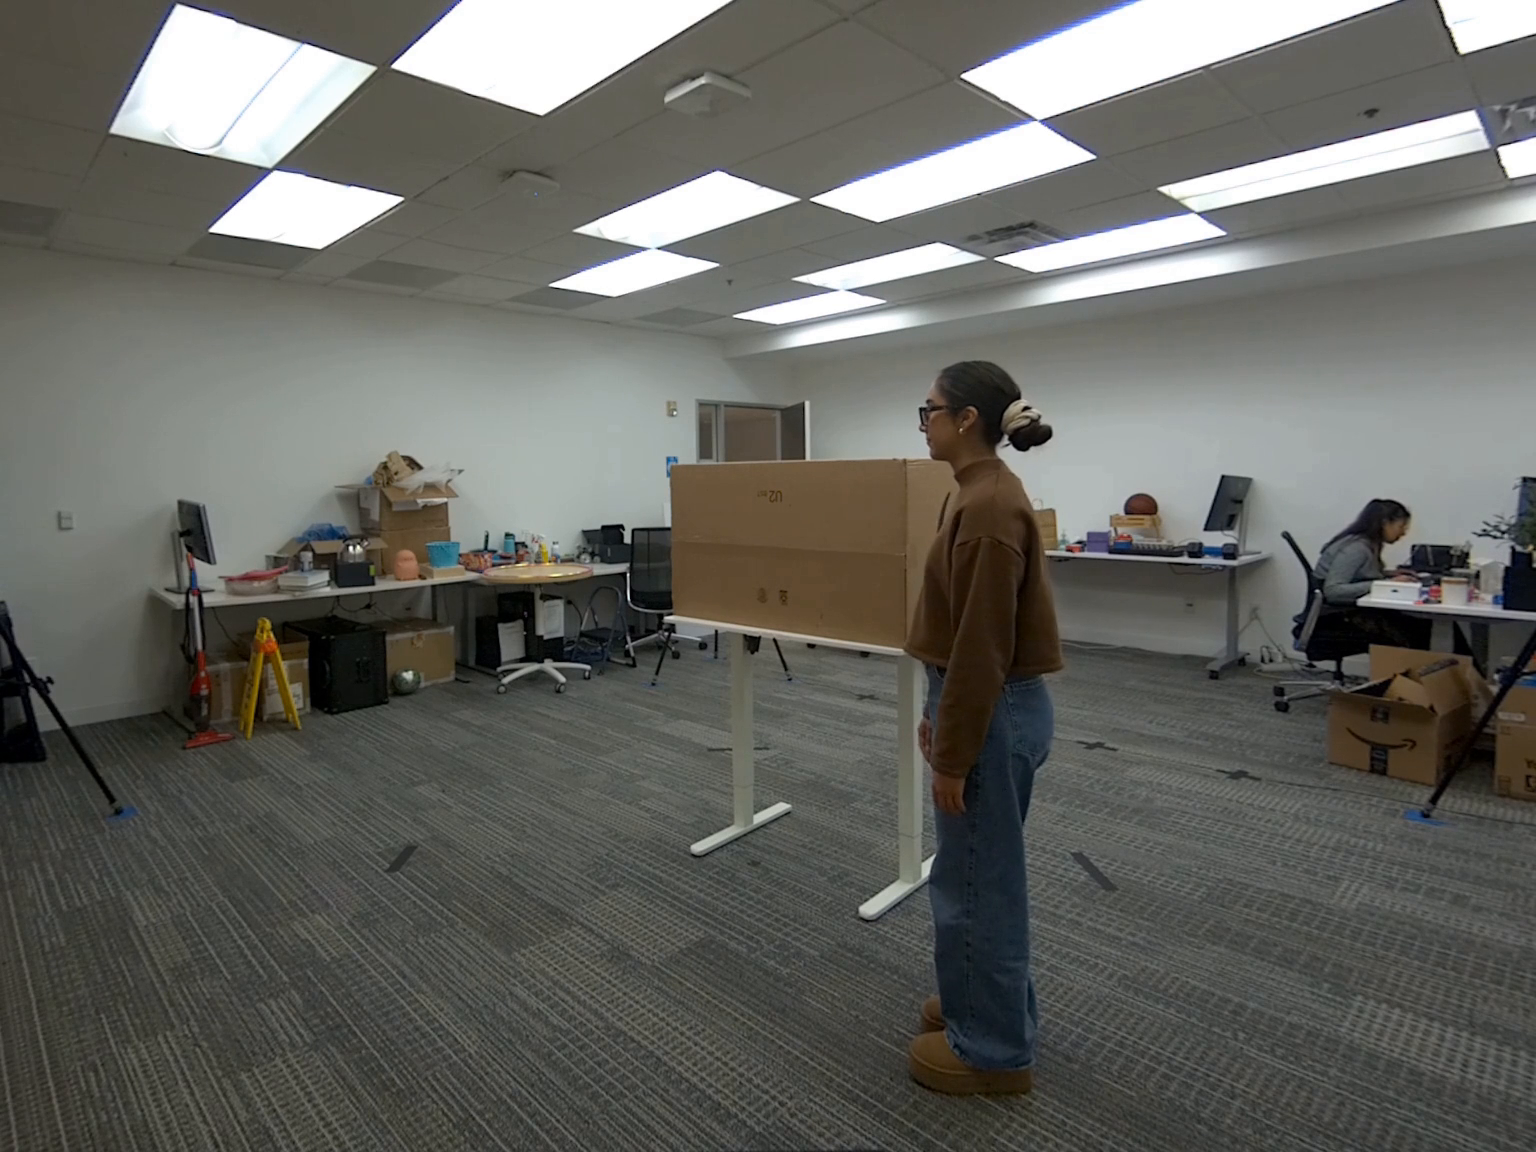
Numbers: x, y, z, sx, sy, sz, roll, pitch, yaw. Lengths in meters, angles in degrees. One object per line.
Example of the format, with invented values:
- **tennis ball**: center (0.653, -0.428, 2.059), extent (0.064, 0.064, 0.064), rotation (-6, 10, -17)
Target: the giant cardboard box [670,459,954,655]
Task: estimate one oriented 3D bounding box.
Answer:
- **giant cardboard box**: center (0.163, -0.116, 3.028), extent (1.058, 0.574, 0.415), rotation (5, 8, 42)
